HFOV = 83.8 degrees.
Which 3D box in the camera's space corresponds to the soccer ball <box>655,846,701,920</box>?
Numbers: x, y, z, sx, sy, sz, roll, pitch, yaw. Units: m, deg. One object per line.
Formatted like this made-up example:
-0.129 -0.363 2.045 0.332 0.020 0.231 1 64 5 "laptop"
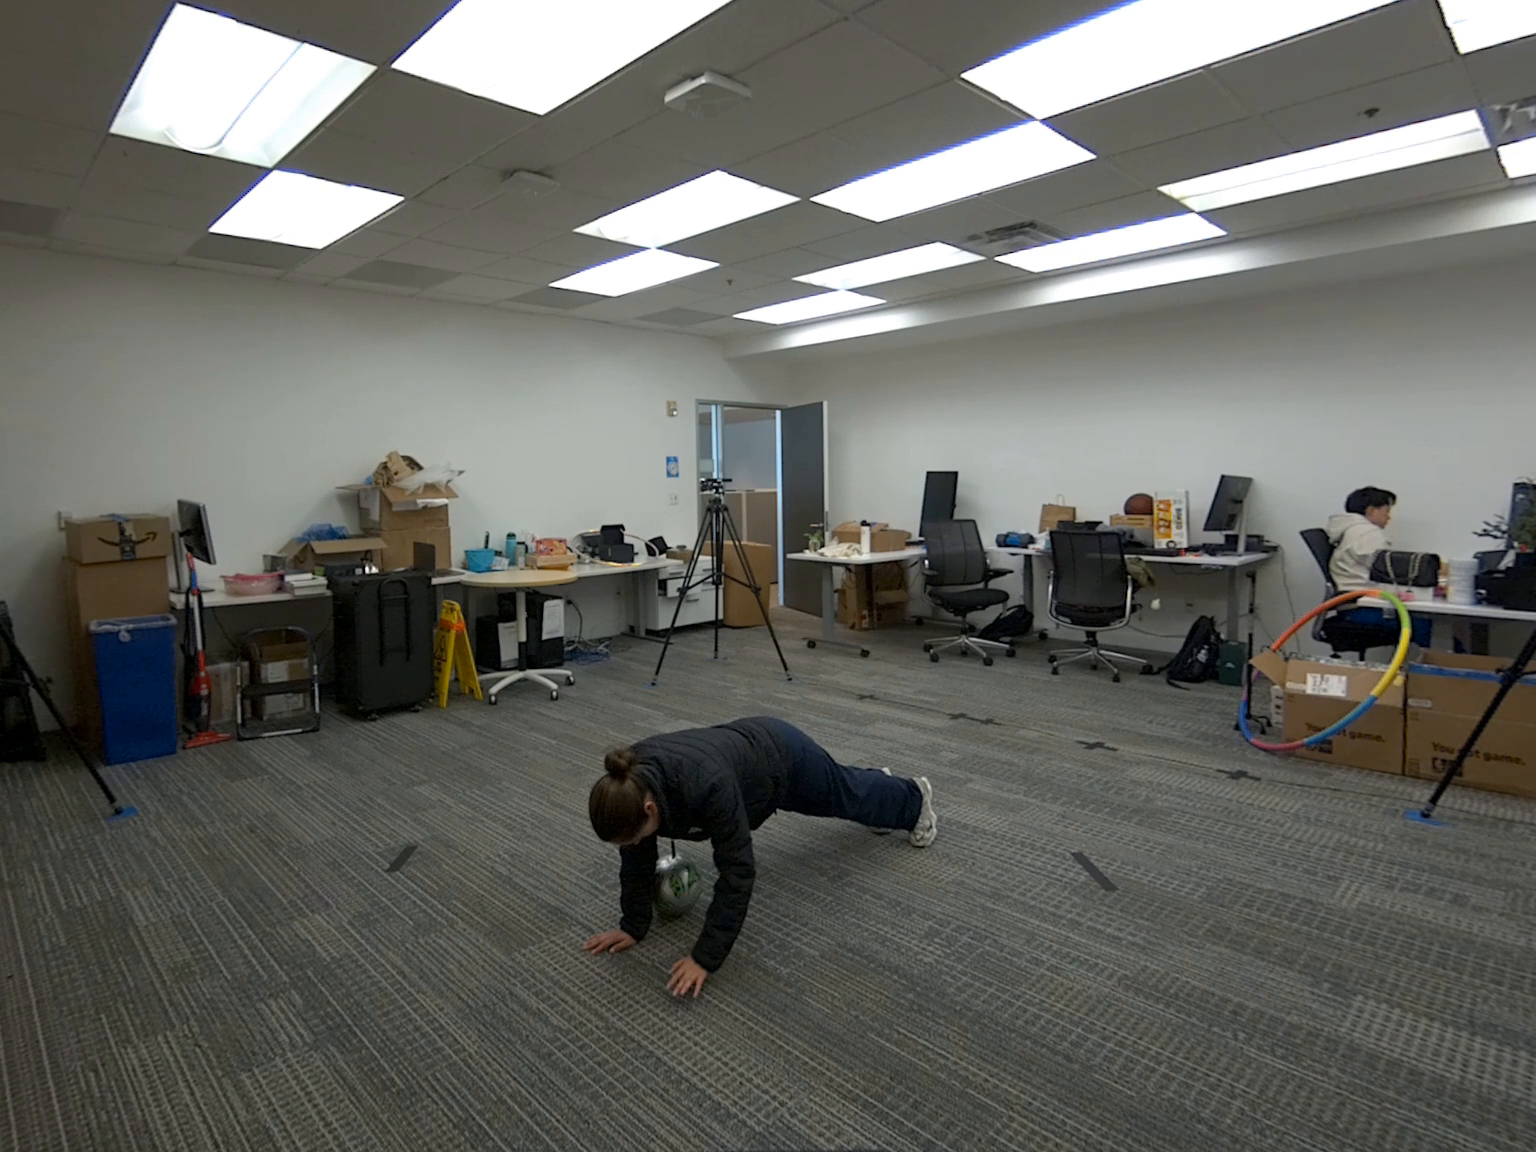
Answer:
-0.302 0.996 2.761 0.187 0.187 0.188 -1 5 -2 "soccer ball"
